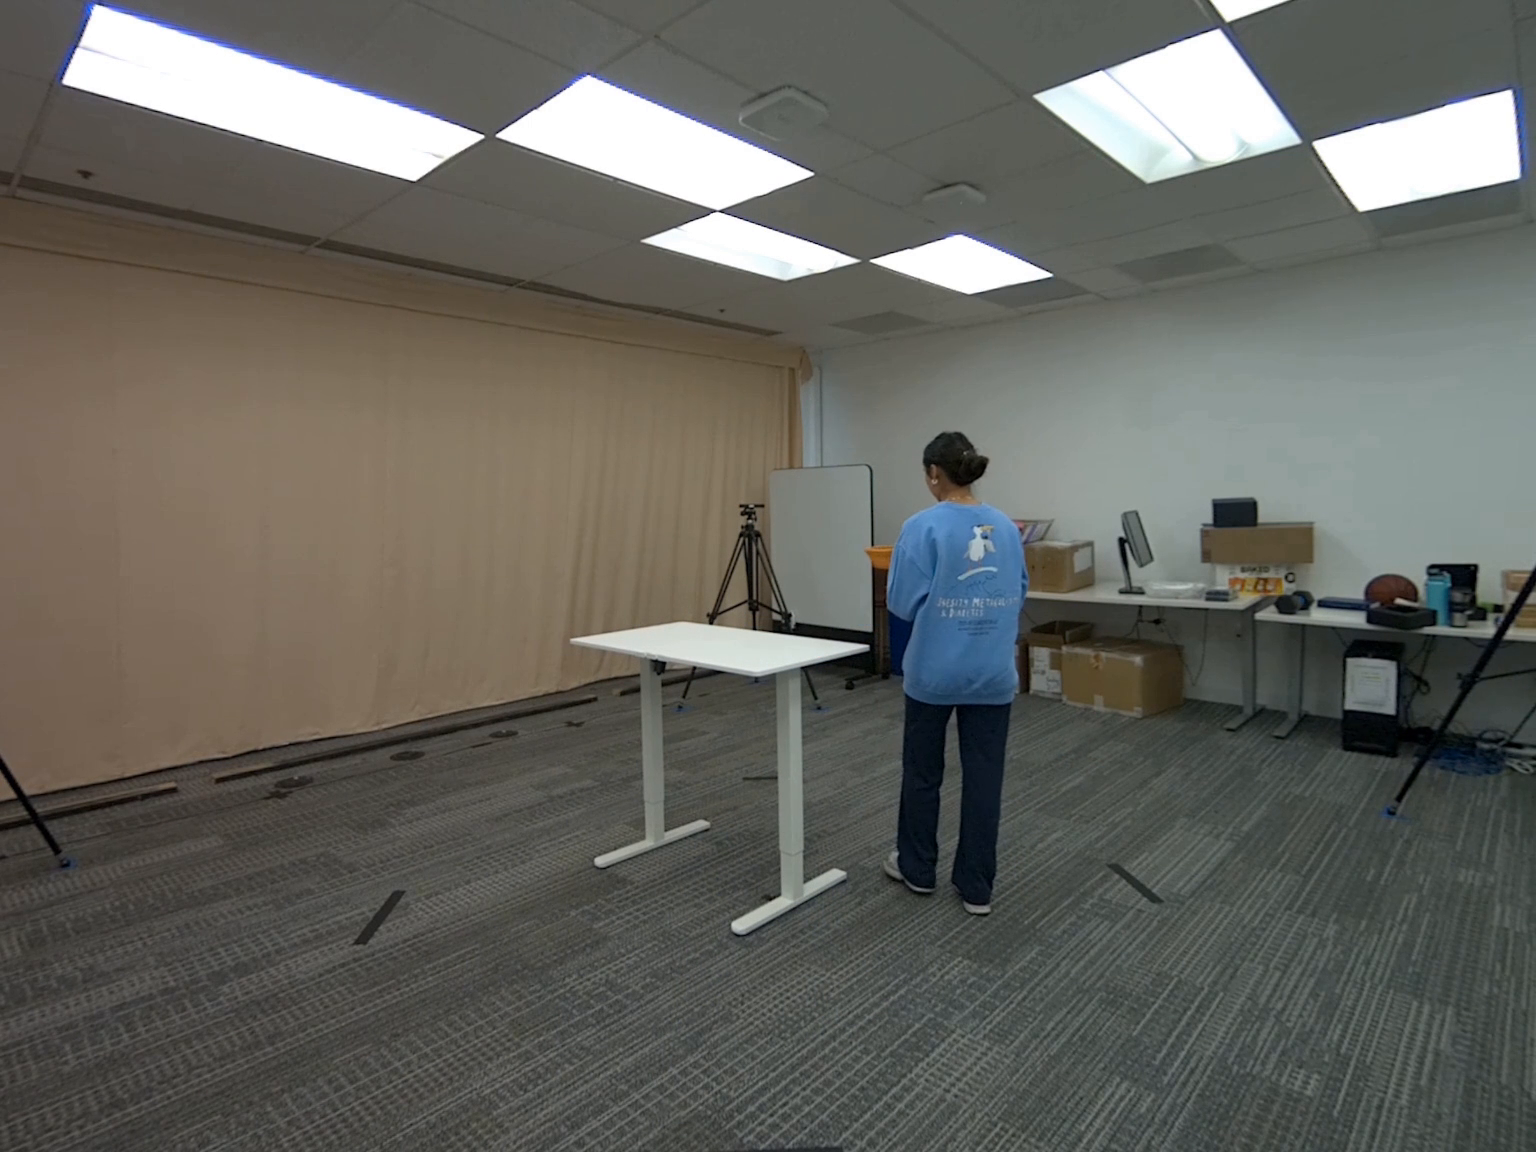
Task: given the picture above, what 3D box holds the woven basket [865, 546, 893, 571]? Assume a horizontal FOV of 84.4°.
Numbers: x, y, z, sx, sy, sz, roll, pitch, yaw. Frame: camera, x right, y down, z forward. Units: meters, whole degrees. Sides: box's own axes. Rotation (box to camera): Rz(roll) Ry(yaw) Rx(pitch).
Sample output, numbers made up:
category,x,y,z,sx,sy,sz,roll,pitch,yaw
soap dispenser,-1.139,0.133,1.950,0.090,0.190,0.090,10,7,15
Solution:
category,x,y,z,sx,sy,sz,roll,pitch,yaw
woven basket,0.557,-0.068,3.168,0.341,0.073,0.260,-5,6,-31
